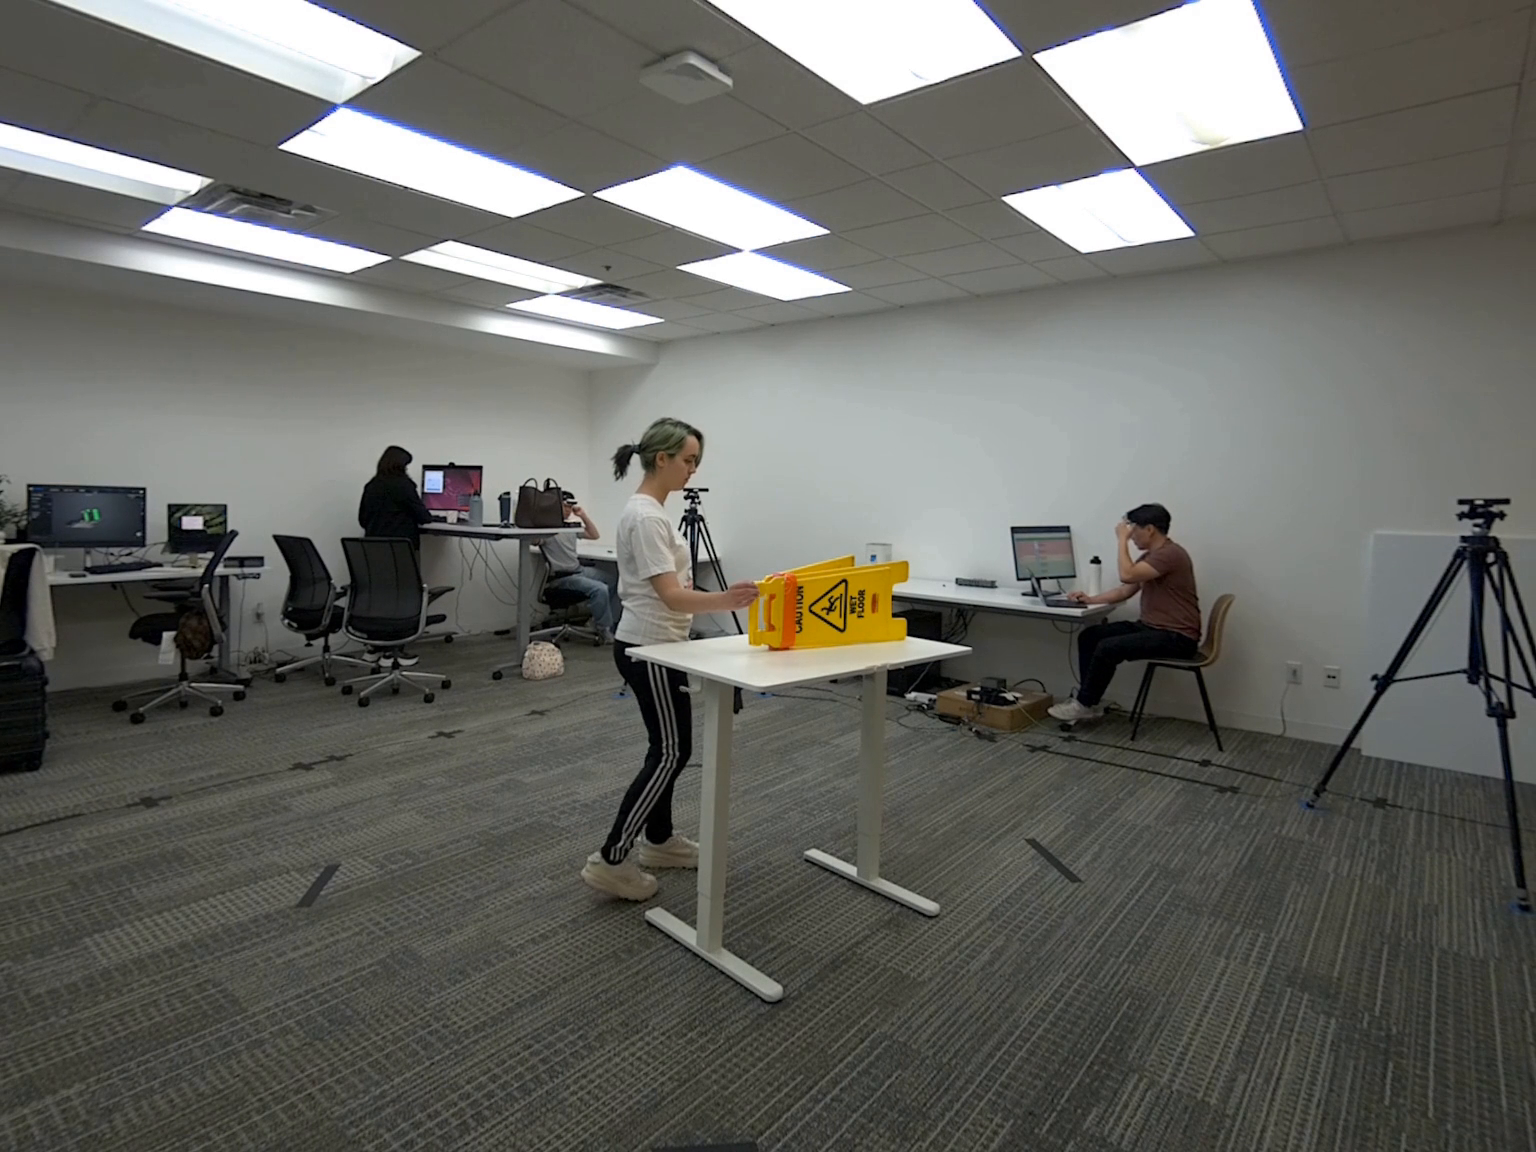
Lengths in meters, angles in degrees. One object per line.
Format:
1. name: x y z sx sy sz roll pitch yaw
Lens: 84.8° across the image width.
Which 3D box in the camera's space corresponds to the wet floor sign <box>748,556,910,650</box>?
1. wet floor sign: 0.167 0.096 2.827 0.627 0.281 0.300 -6 8 -44
